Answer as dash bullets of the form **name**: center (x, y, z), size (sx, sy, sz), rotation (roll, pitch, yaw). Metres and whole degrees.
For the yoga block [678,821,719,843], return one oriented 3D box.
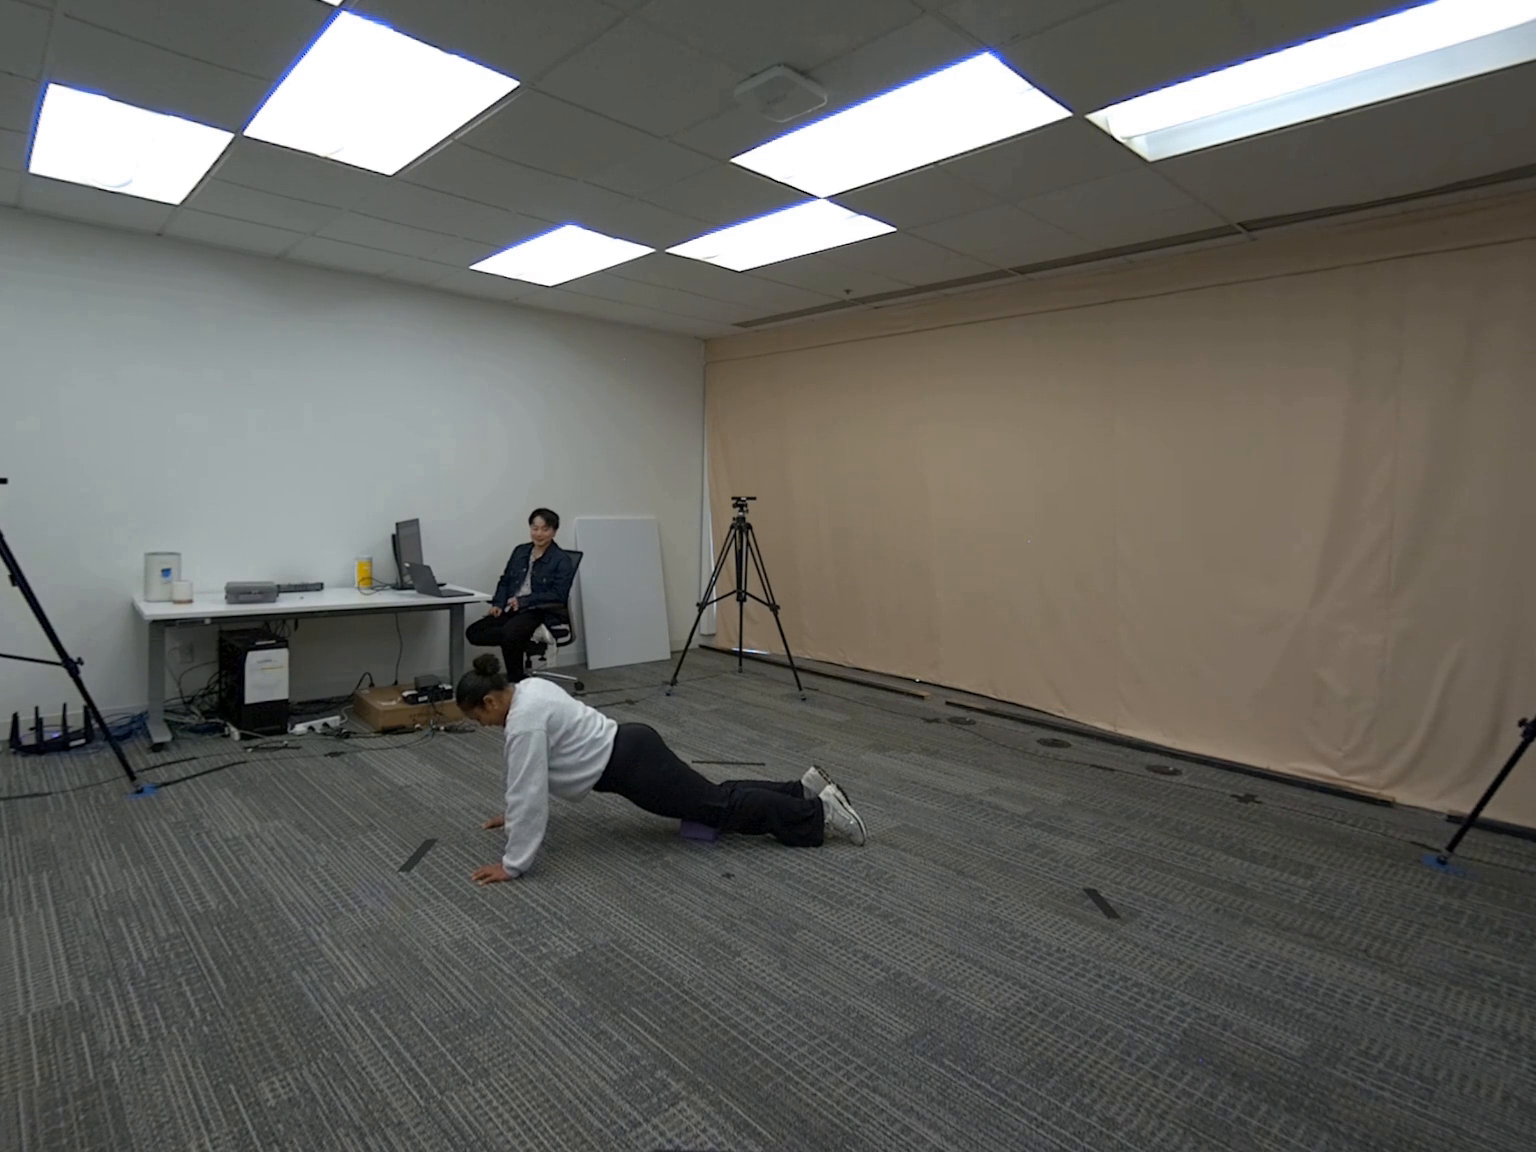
- **yoga block**: center (-0.266, 1.016, 3.525), size (0.150, 0.076, 0.228), rotation (4, 6, 9)
